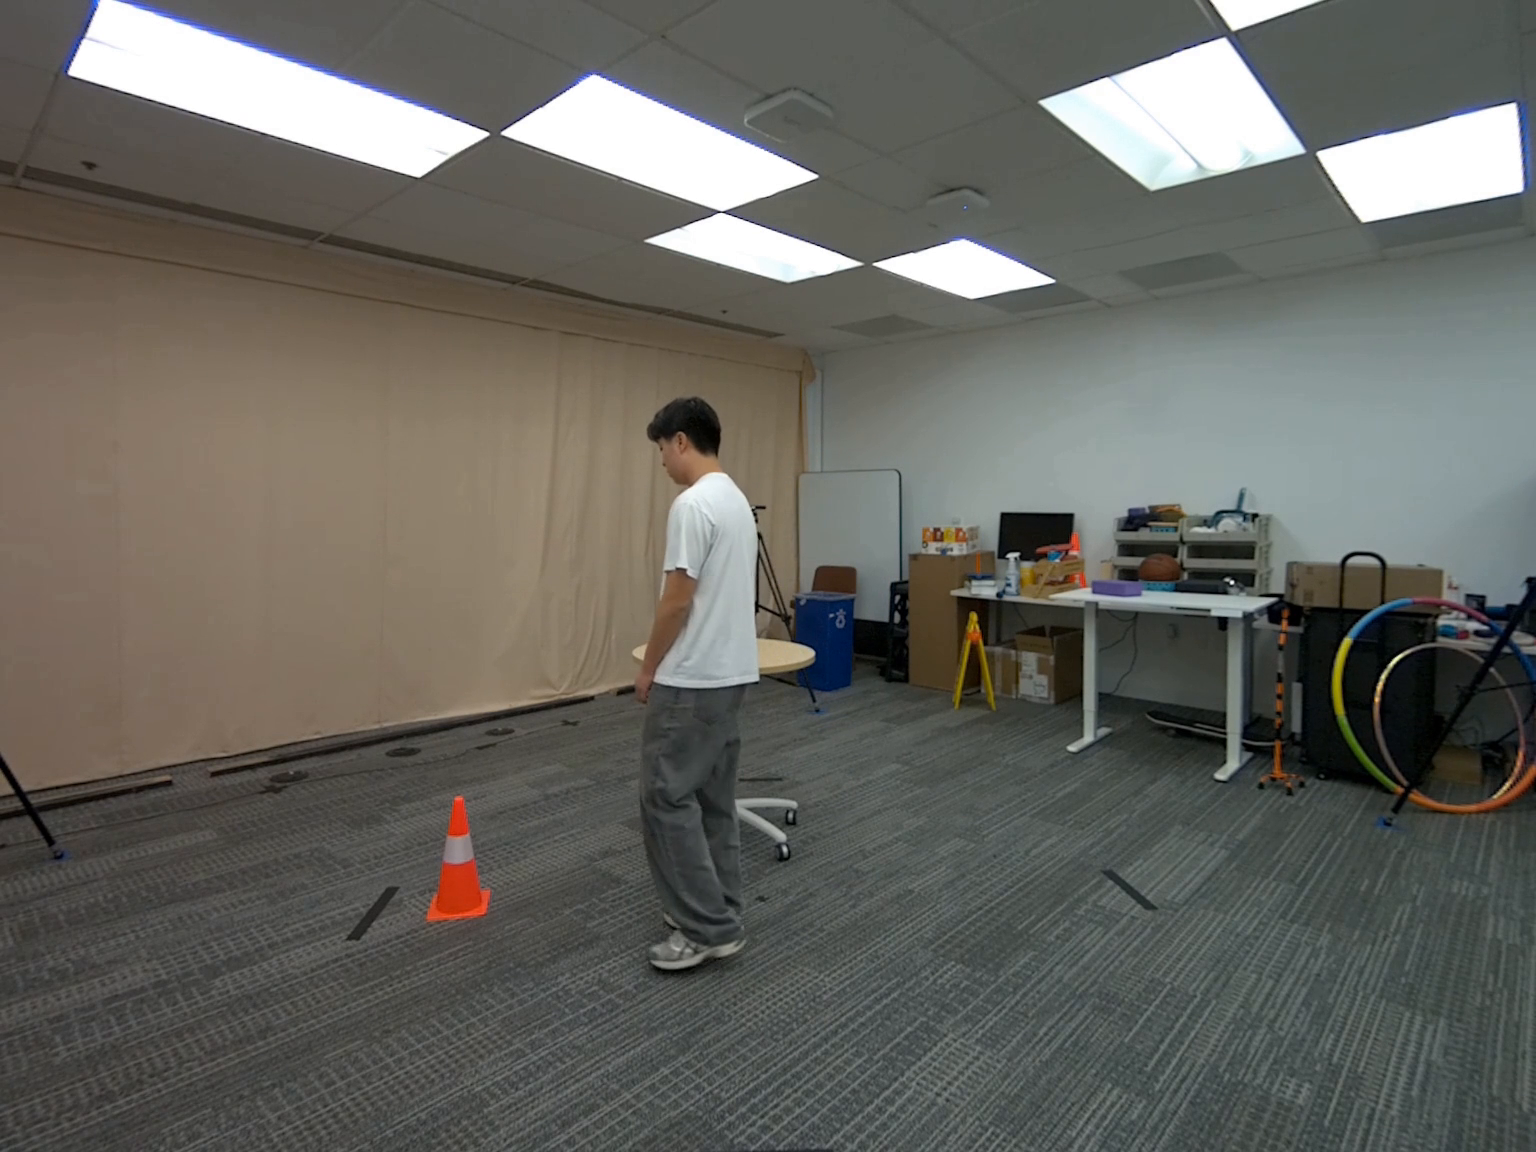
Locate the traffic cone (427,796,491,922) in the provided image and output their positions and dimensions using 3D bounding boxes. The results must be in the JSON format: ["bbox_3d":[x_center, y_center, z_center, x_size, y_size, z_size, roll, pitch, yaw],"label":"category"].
[{"bbox_3d":[-1.092,0.975,2.946,0.203,0.383,0.206,-2,2,-12],"label":"traffic cone"}]
